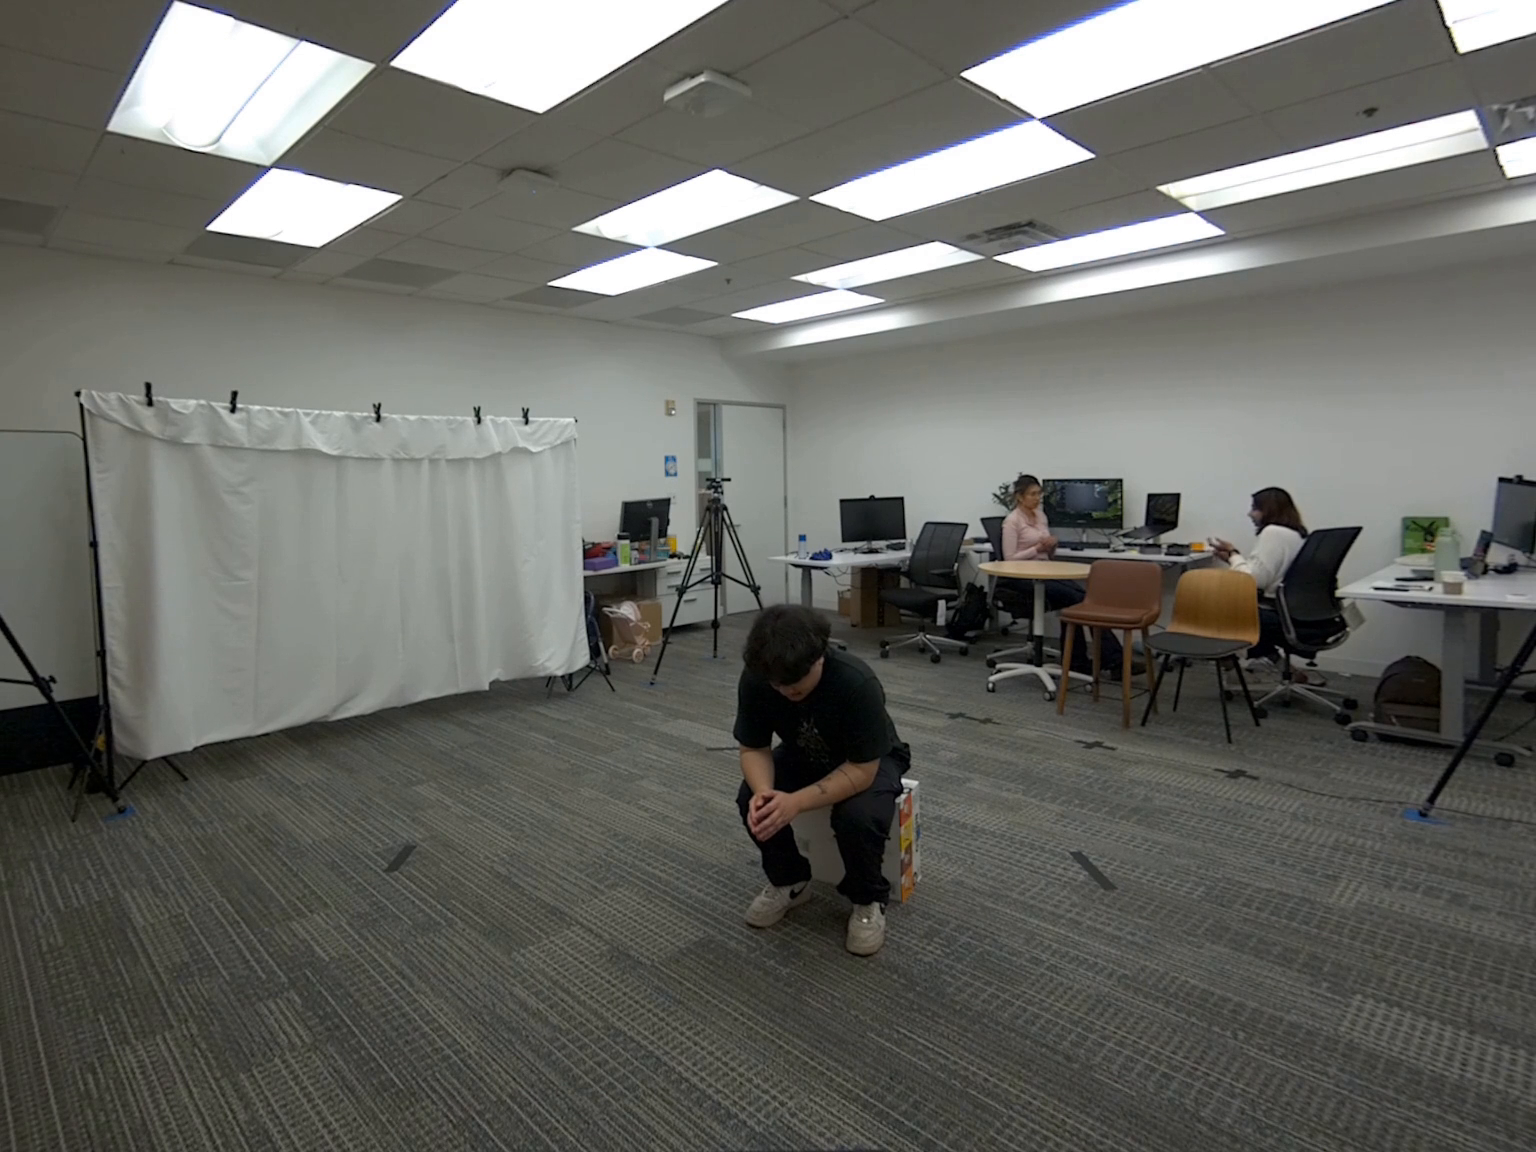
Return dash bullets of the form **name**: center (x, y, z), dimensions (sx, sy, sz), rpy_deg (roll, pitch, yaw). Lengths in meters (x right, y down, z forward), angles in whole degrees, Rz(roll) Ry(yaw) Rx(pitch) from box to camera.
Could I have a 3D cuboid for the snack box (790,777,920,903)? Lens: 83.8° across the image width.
- **snack box**: center (0.308, 0.884, 2.977), dimensions (0.416, 0.339, 0.201), rpy_deg (2, 5, 30)
